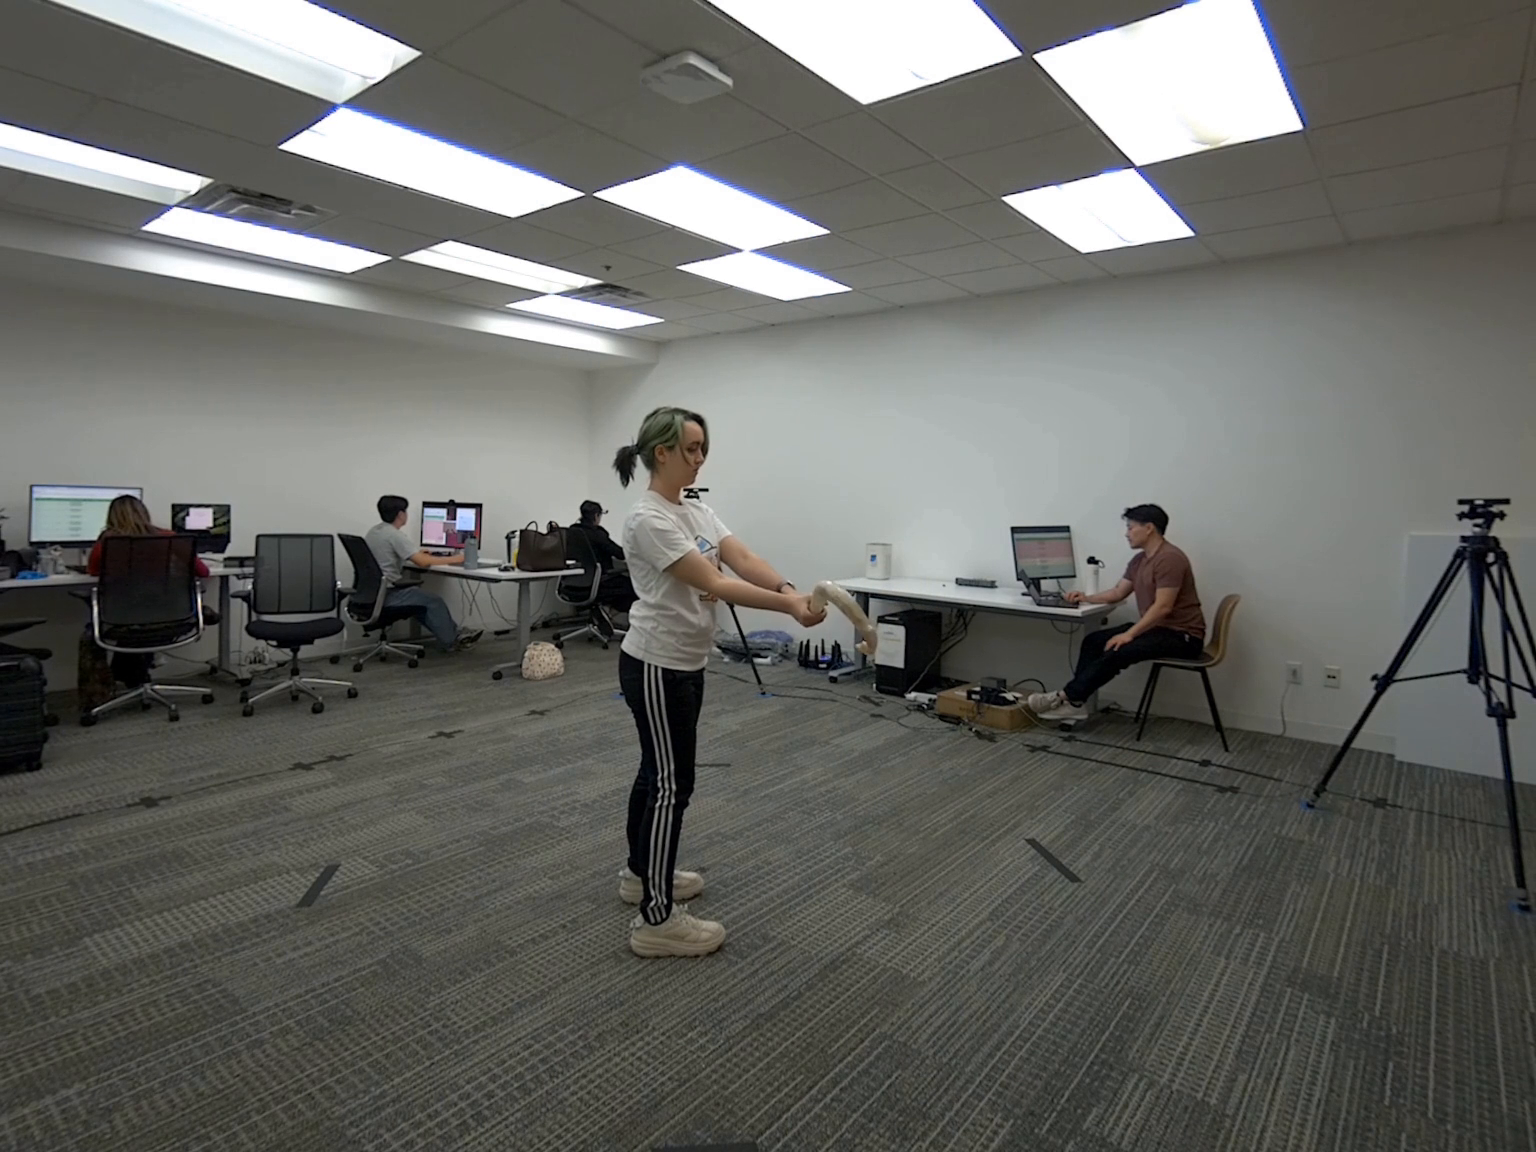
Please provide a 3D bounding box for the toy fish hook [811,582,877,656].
[{"bbox_3d":[0.165,0.117,2.275,0.048,0.225,0.508,-32,1,-12],"label":"toy fish hook"}]
